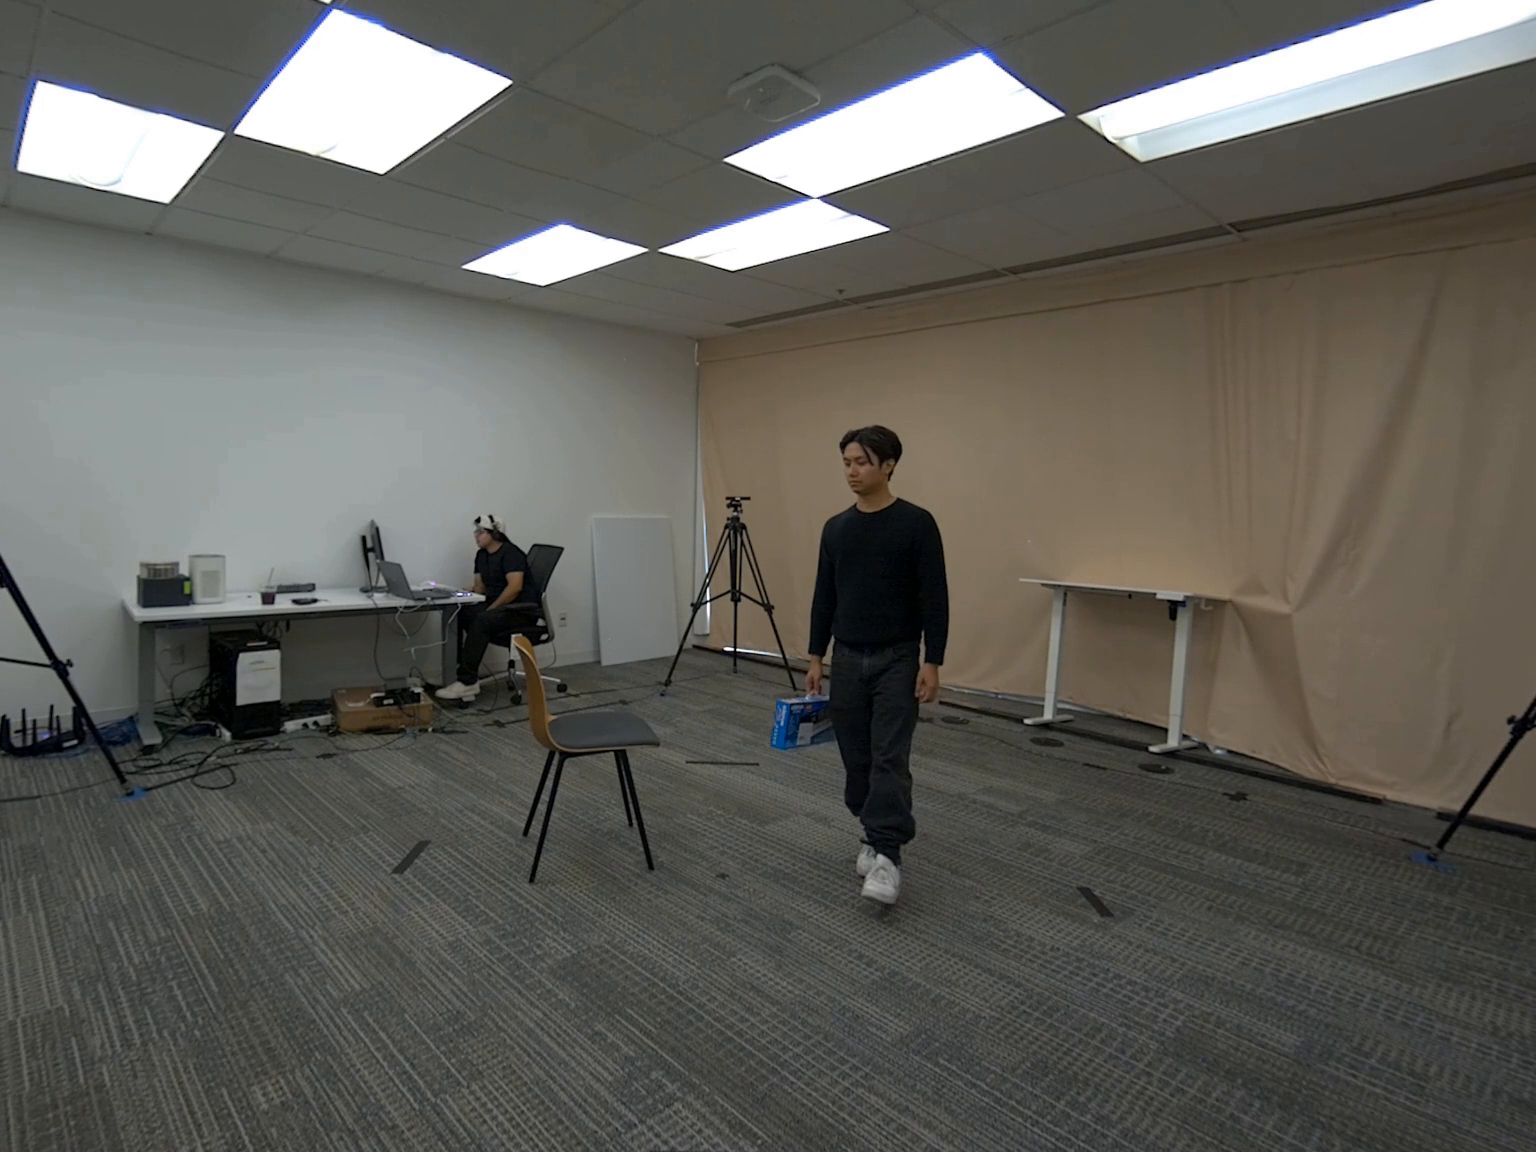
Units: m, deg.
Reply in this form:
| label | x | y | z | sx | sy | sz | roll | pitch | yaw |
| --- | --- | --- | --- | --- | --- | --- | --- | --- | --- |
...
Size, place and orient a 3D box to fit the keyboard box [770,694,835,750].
| label | x | y | z | sx | sy | sz | roll | pitch | yaw |
| --- | --- | --- | --- | --- | --- | --- | --- | --- | --- |
| keyboard box | 0.162 | 0.557 | 3.239 | 0.060 | 0.176 | 0.426 | 9 | 1 | 34 |
